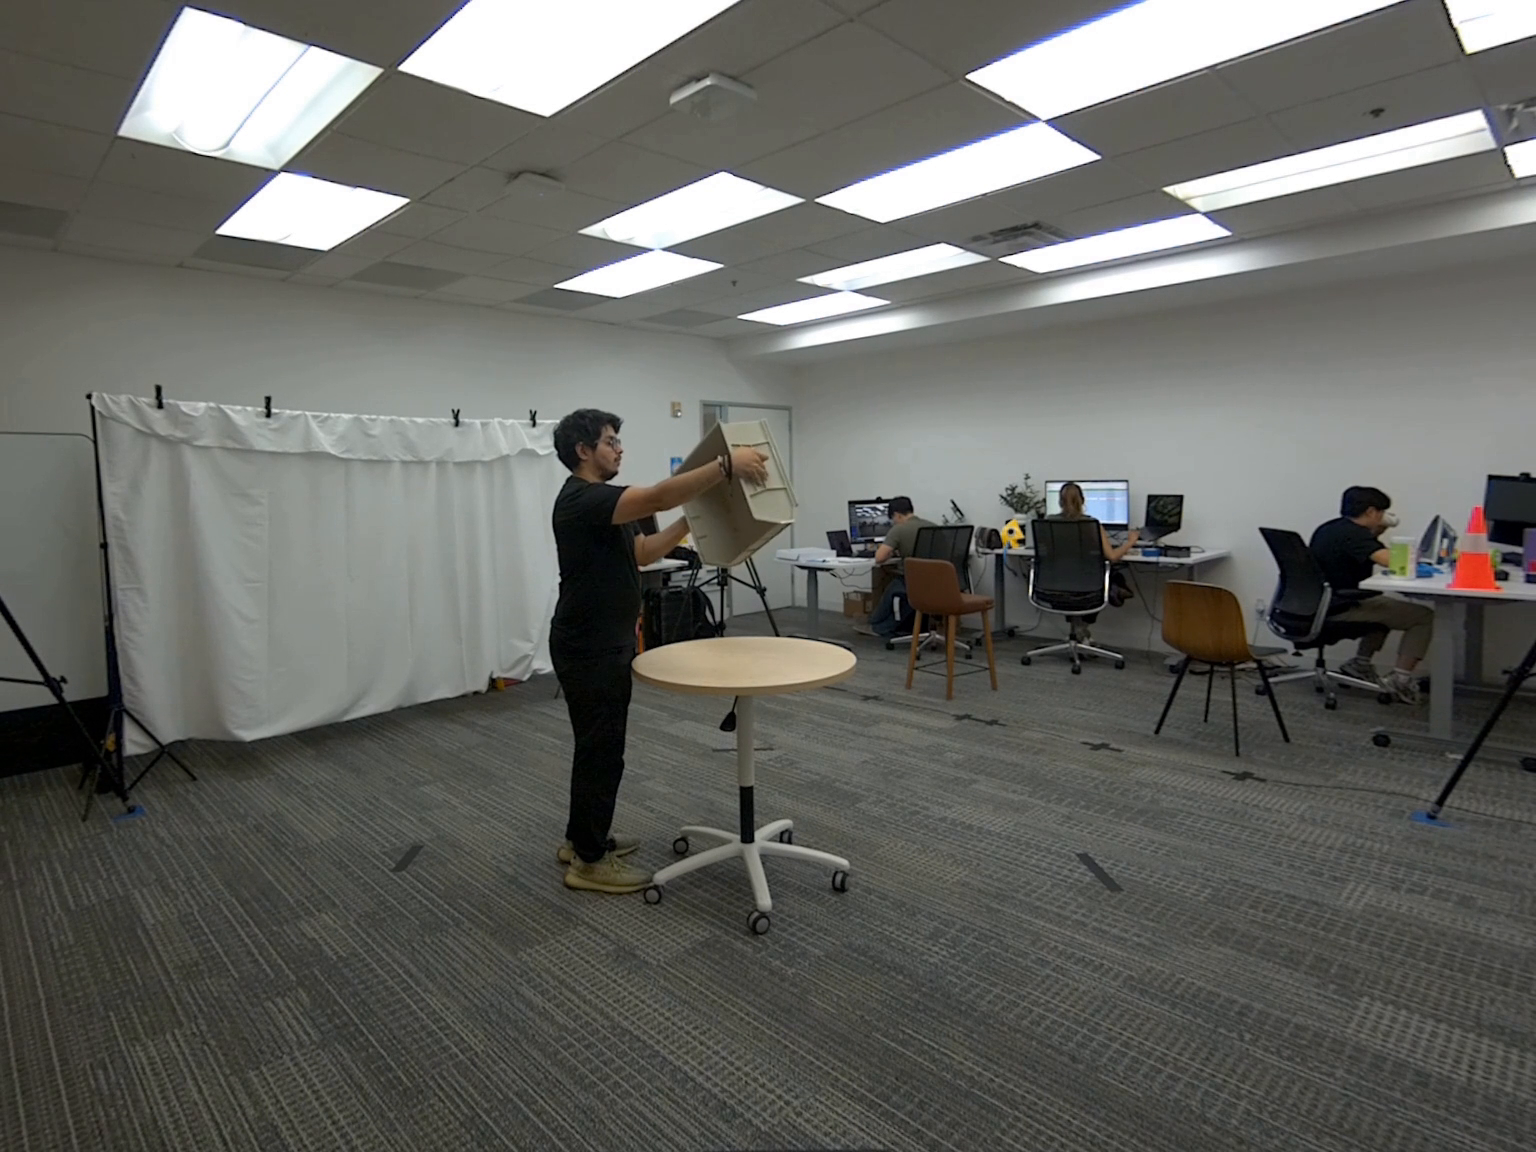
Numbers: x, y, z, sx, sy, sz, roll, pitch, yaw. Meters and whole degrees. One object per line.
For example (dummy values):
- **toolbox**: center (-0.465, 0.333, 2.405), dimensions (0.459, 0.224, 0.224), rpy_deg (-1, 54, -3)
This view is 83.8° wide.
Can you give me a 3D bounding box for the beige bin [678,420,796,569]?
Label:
- **beige bin**: center (-0.115, -0.266, 2.872), dimensions (0.185, 0.383, 0.424), rpy_deg (-11, -15, -30)
